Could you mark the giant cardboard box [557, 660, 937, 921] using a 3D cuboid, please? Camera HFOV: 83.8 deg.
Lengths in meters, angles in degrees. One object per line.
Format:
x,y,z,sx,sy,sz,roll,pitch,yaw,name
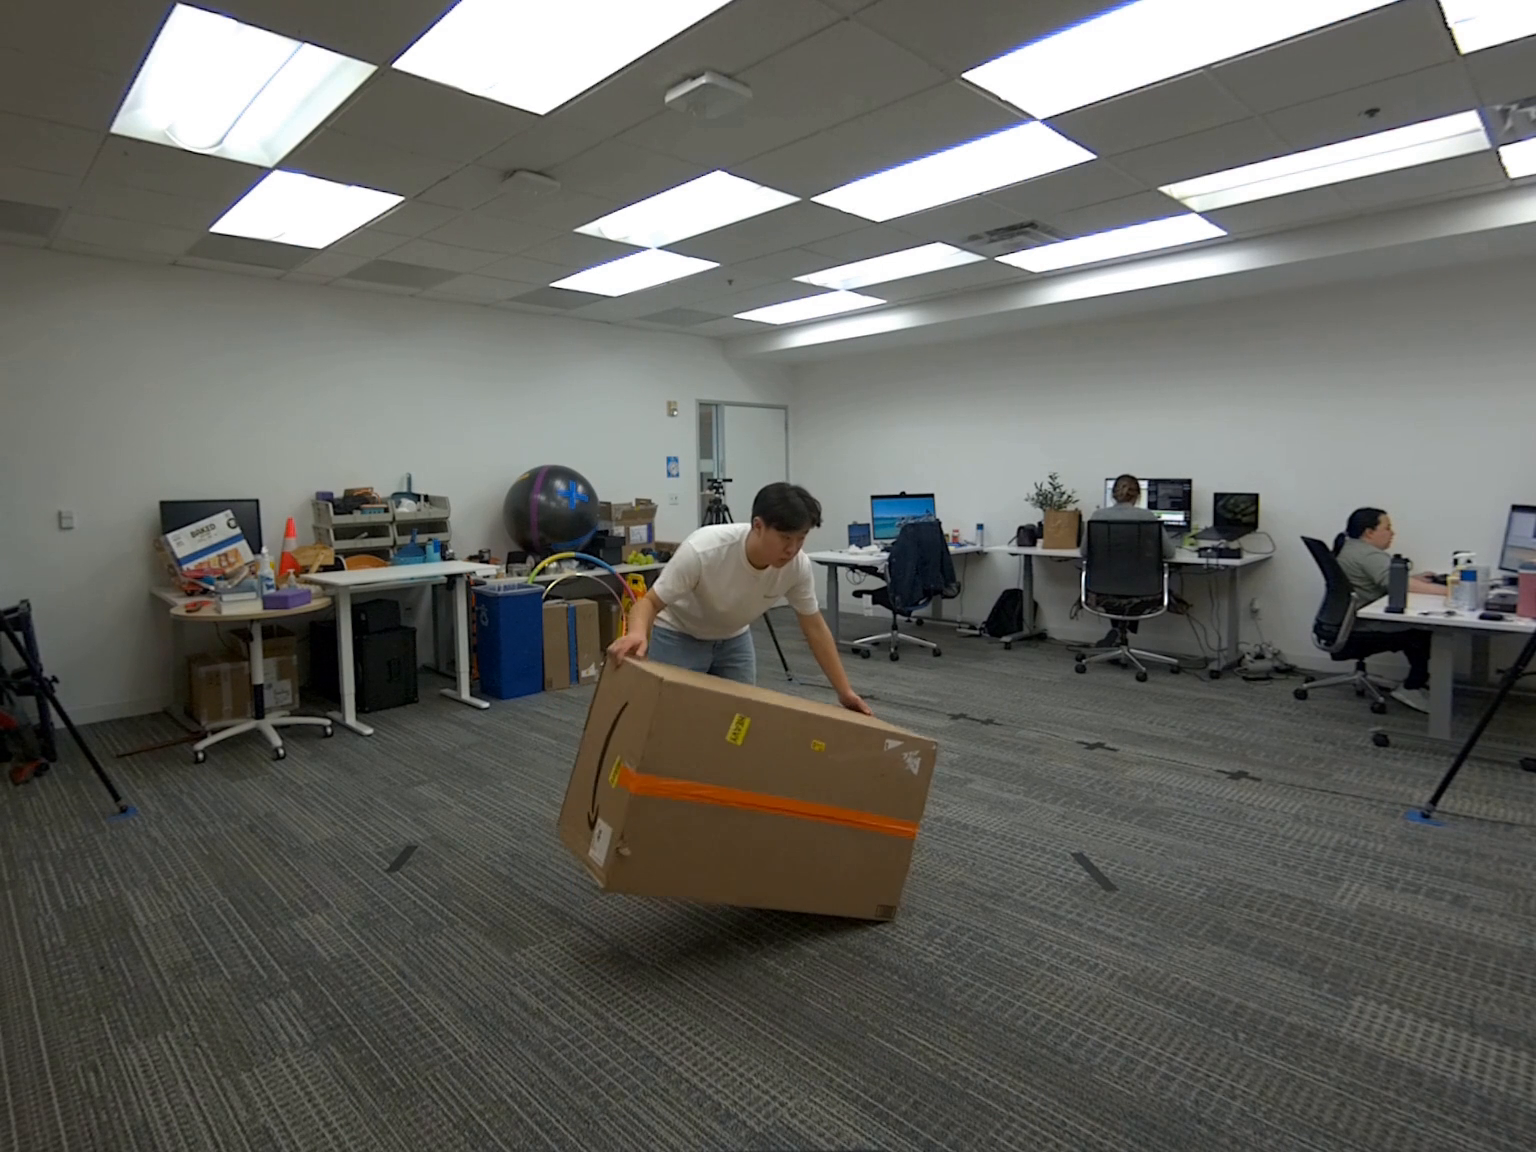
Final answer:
-0.044,0.654,2.654,0.995,0.579,0.437,18,-6,-28,giant cardboard box
